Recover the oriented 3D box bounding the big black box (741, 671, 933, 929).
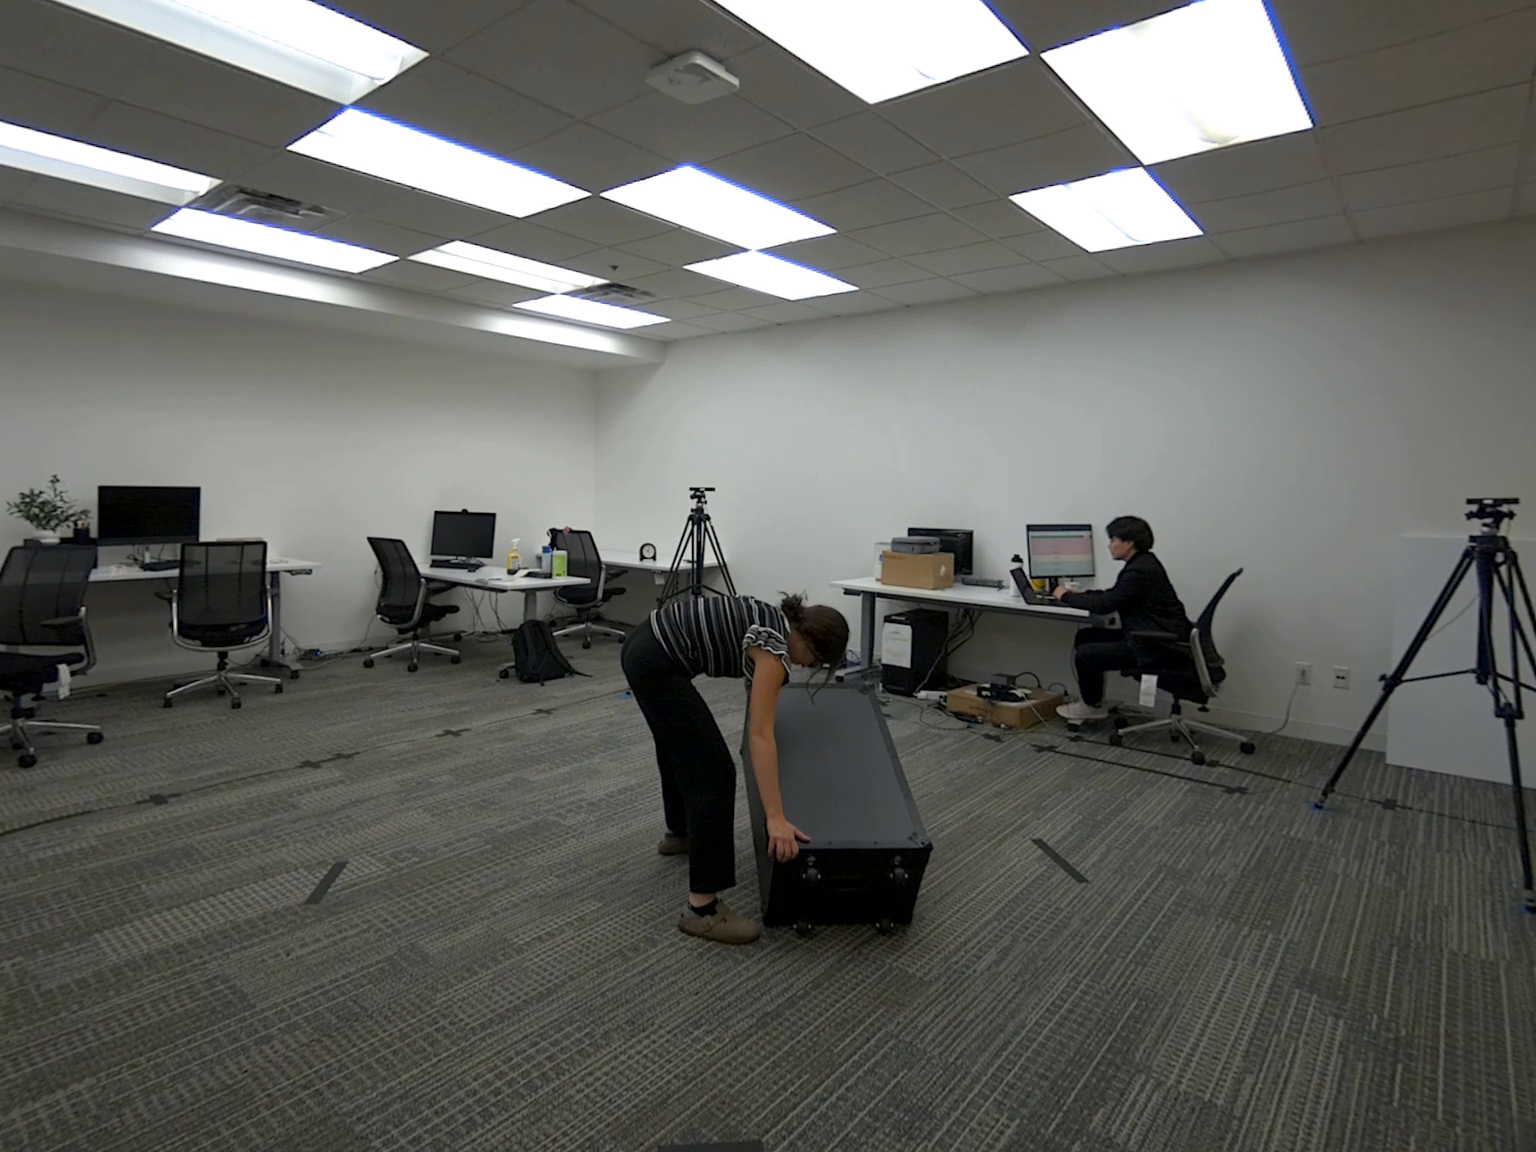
[{"bbox_3d":[0.197,0.785,2.952,0.518,0.387,0.886,0,30,-6],"label":"big black box"}]
